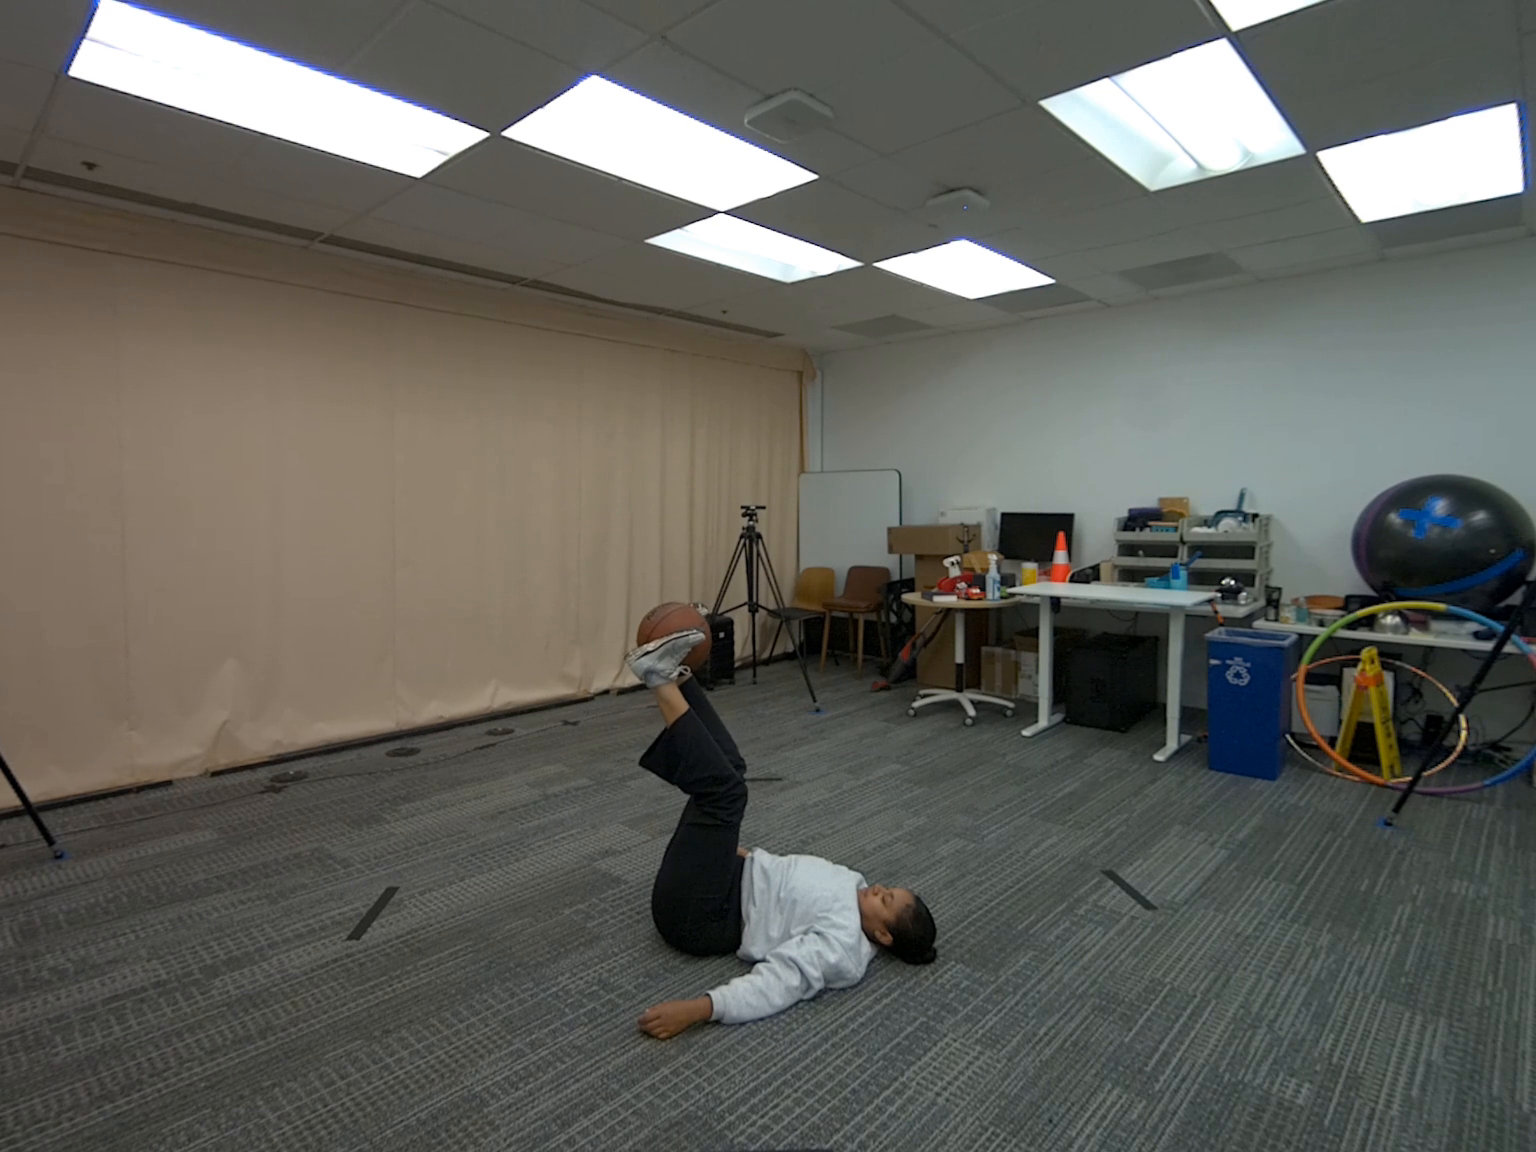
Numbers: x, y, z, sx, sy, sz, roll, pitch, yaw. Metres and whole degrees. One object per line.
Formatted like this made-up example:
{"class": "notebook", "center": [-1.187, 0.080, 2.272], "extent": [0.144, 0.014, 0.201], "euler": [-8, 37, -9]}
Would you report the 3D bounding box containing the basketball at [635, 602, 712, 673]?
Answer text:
{"class": "basketball", "center": [-0.303, 0.207, 2.698], "extent": [0.236, 0.236, 0.236], "euler": [2, 0, -2]}
